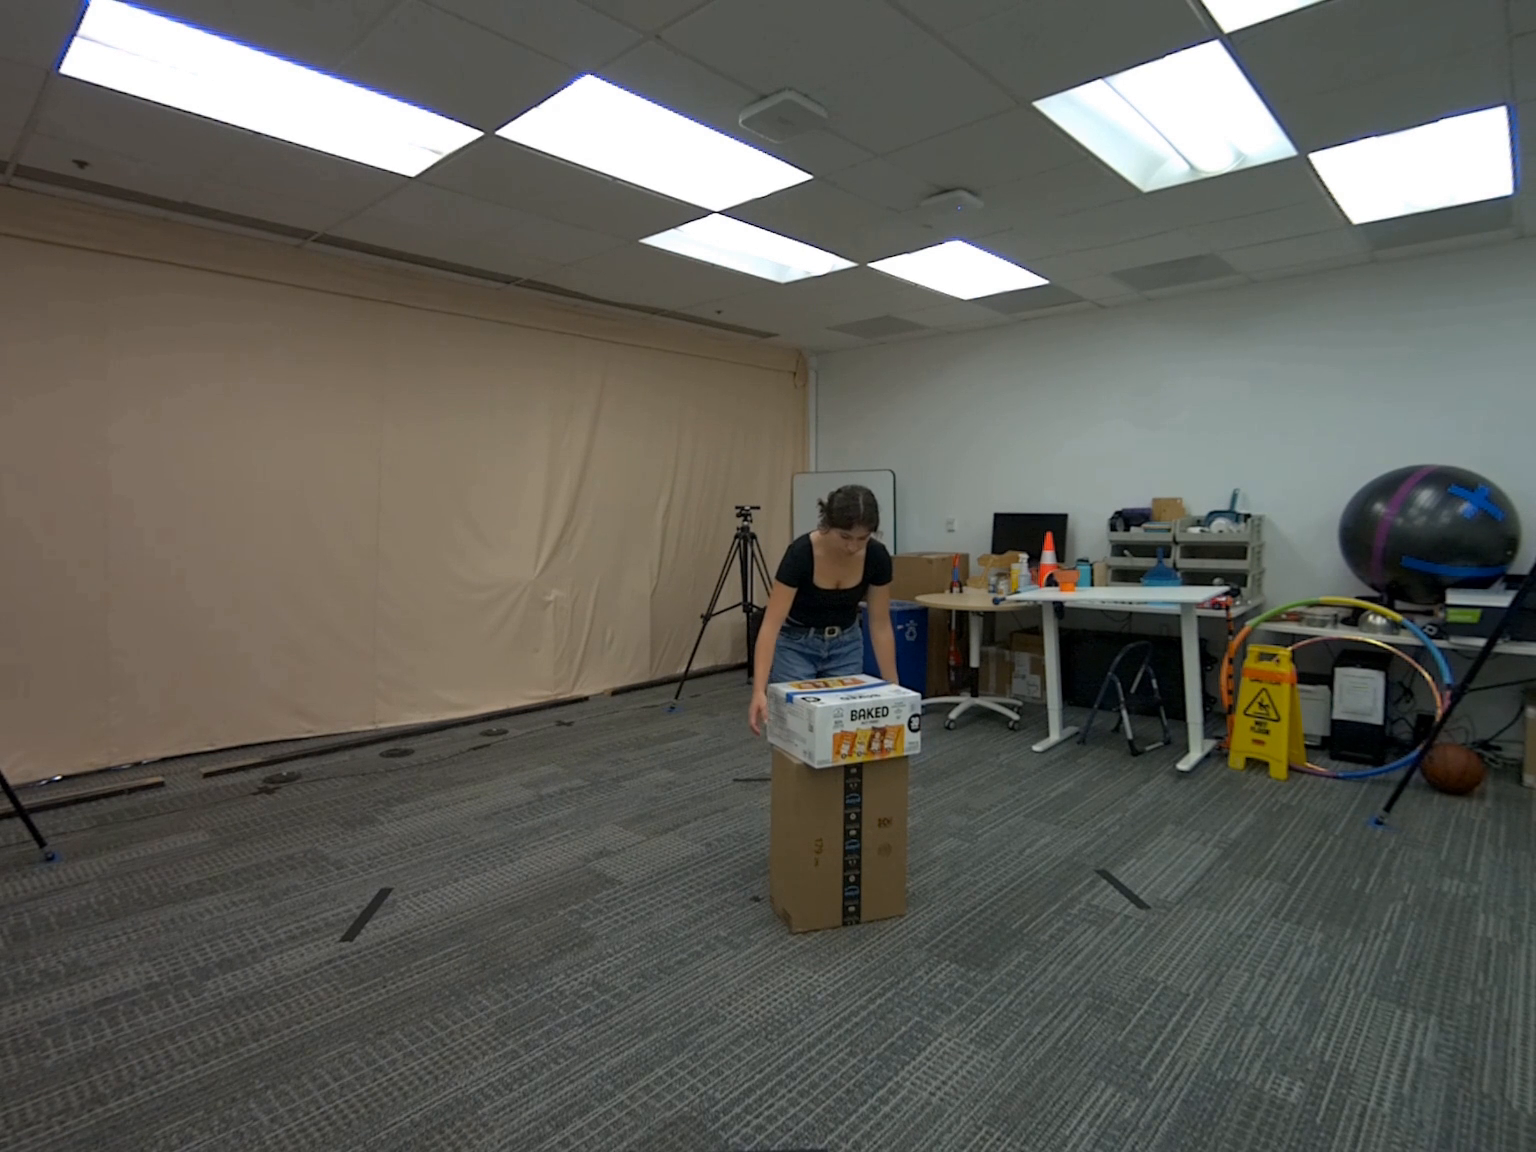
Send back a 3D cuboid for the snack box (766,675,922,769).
[{"bbox_3d":[0.251,0.483,2.869,0.396,0.205,0.349,-3,5,-25],"label":"snack box"}]
